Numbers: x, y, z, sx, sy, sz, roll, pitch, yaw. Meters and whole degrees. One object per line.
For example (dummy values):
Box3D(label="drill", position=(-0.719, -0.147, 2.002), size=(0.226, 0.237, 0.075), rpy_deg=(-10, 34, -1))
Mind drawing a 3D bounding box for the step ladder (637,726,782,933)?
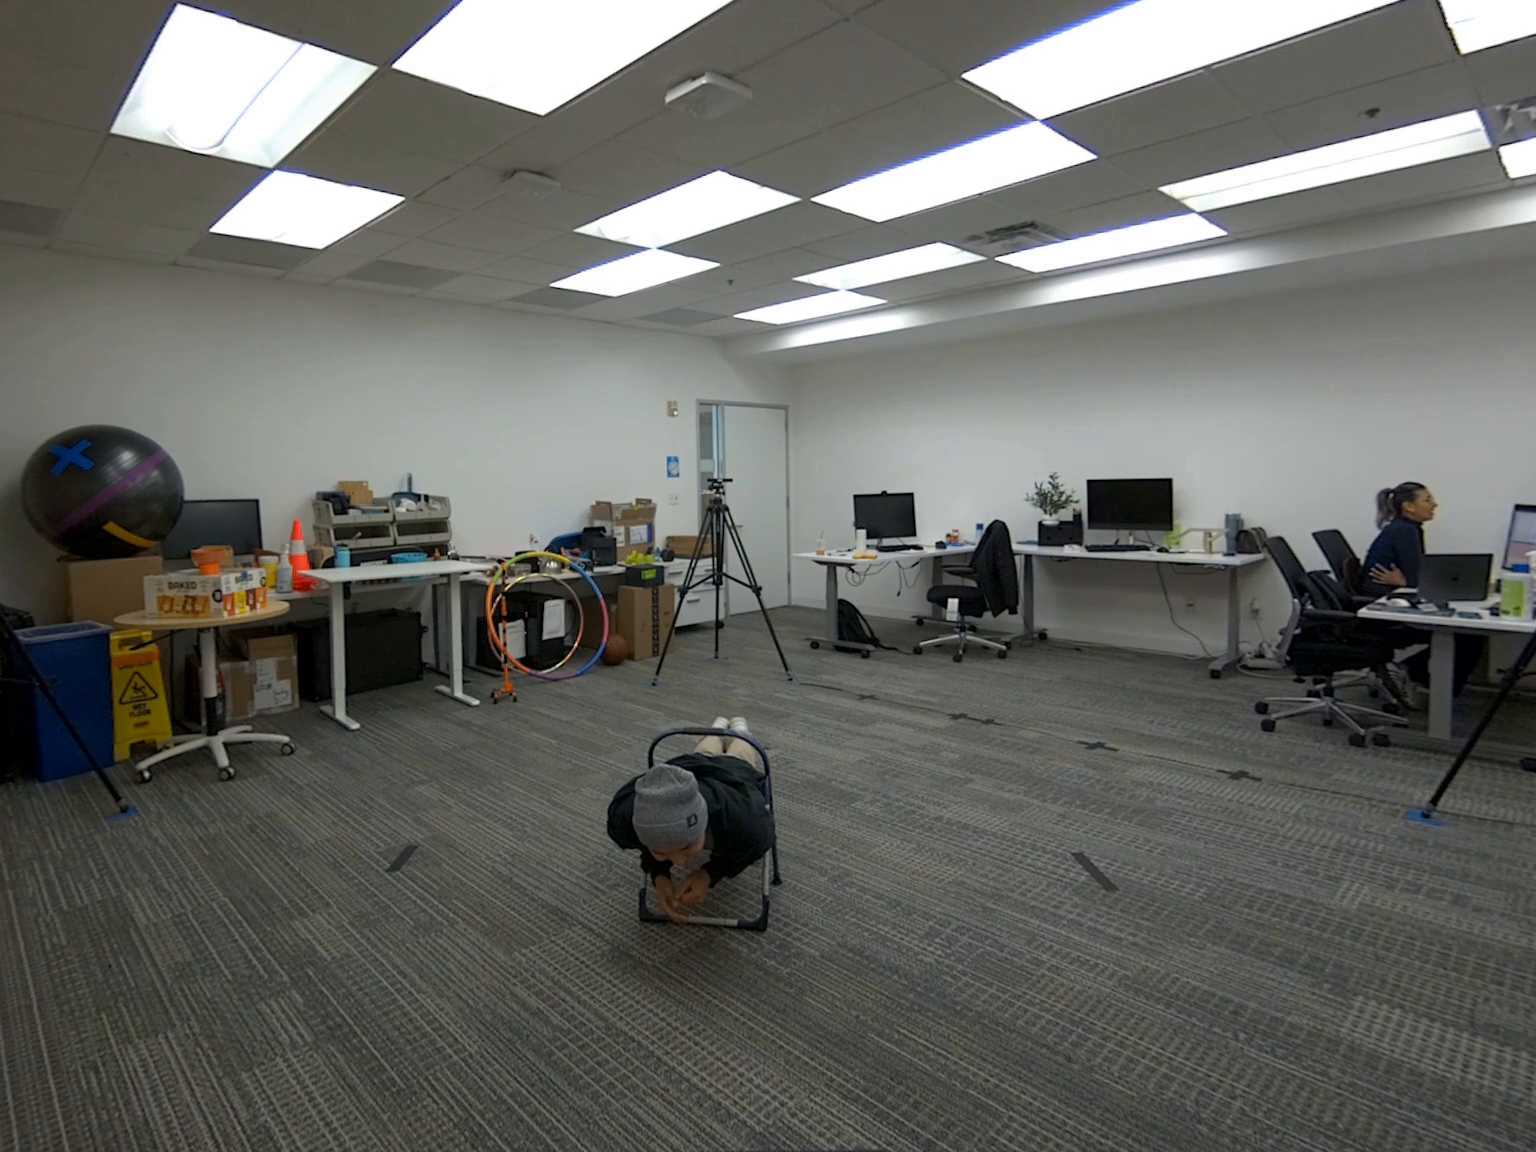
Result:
Box3D(label="step ladder", position=(-0.185, 0.782, 2.817), size=(0.434, 0.603, 0.348), rpy_deg=(-1, 6, 8))
